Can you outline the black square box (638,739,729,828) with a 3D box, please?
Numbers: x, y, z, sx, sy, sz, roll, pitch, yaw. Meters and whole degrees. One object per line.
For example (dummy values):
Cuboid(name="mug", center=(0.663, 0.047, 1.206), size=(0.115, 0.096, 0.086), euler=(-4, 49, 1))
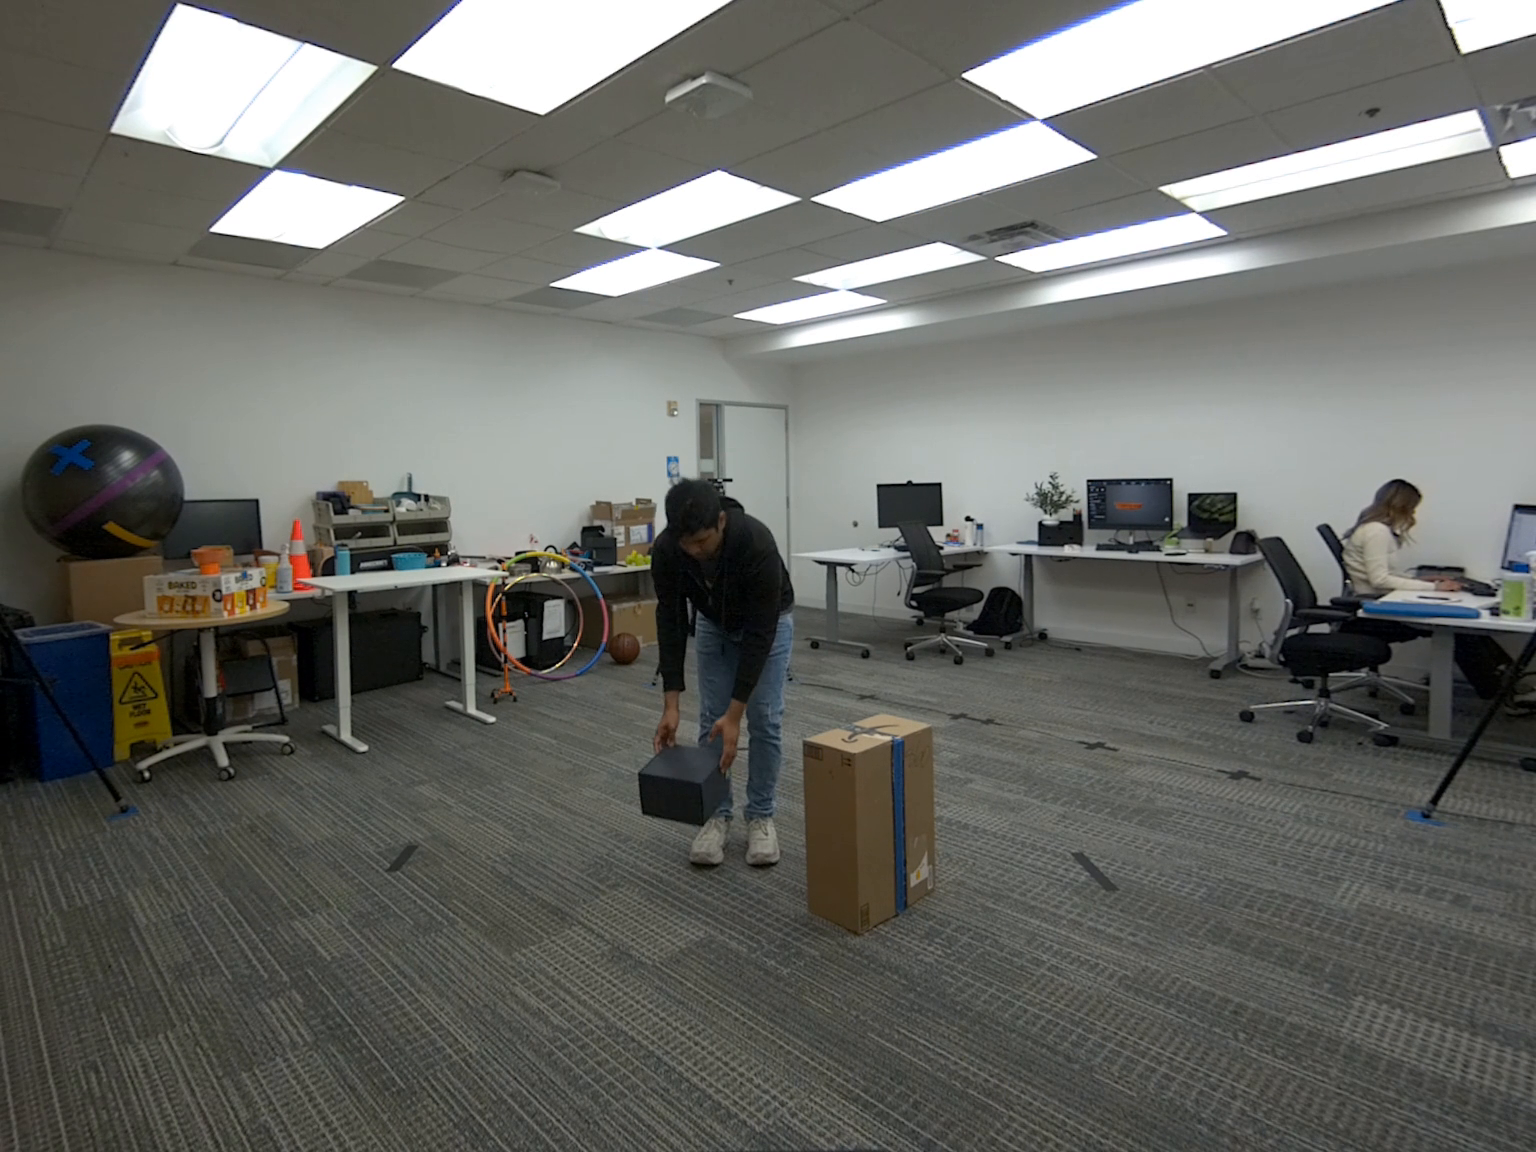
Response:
Cuboid(name="black square box", center=(-0.266, 0.681, 2.829), size=(0.233, 0.154, 0.215), euler=(2, 14, 22))
